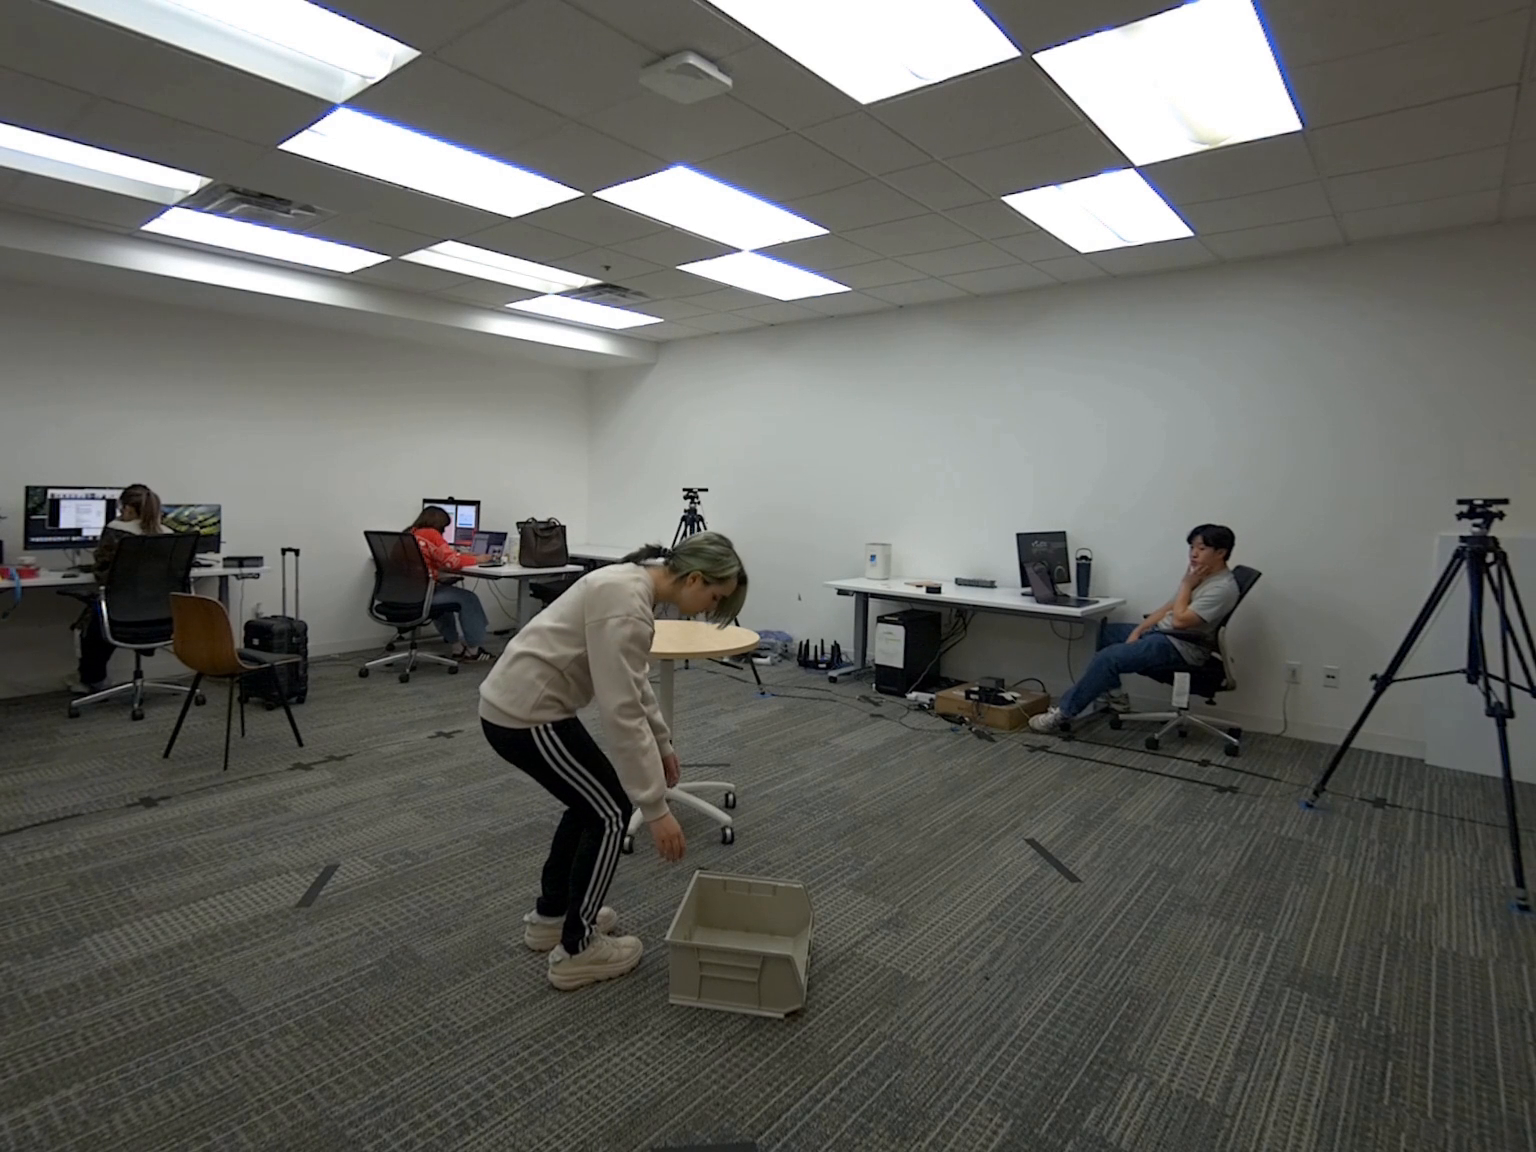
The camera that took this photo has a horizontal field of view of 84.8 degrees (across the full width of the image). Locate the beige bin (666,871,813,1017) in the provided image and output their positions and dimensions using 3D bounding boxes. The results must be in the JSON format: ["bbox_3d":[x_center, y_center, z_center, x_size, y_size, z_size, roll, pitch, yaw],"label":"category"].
[{"bbox_3d":[-0.074,1.050,2.452,0.381,0.188,0.420,1,6,8],"label":"beige bin"}]
